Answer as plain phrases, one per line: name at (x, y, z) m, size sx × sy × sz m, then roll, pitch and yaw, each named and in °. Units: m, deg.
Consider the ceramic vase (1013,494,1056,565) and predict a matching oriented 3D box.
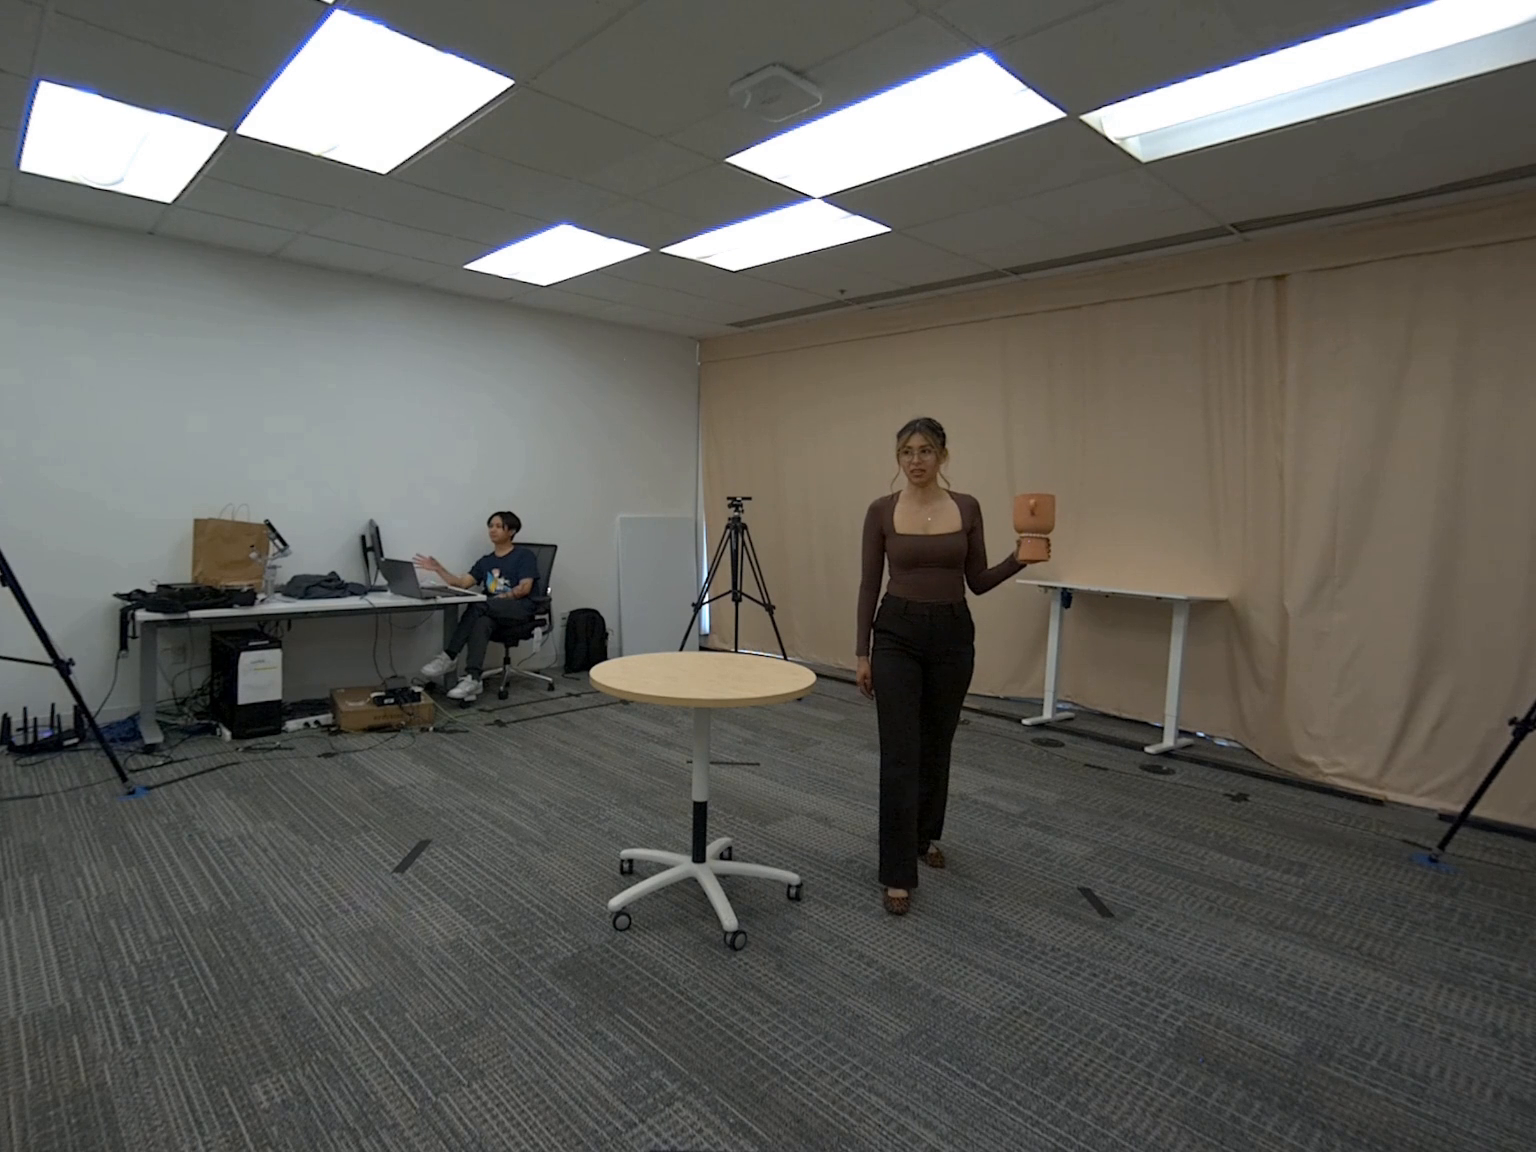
ceramic vase at (0.879, -0.164, 2.823) m, size 0.155 × 0.220 × 0.137 m, roll 2°, pitch -2°, yaw -31°
